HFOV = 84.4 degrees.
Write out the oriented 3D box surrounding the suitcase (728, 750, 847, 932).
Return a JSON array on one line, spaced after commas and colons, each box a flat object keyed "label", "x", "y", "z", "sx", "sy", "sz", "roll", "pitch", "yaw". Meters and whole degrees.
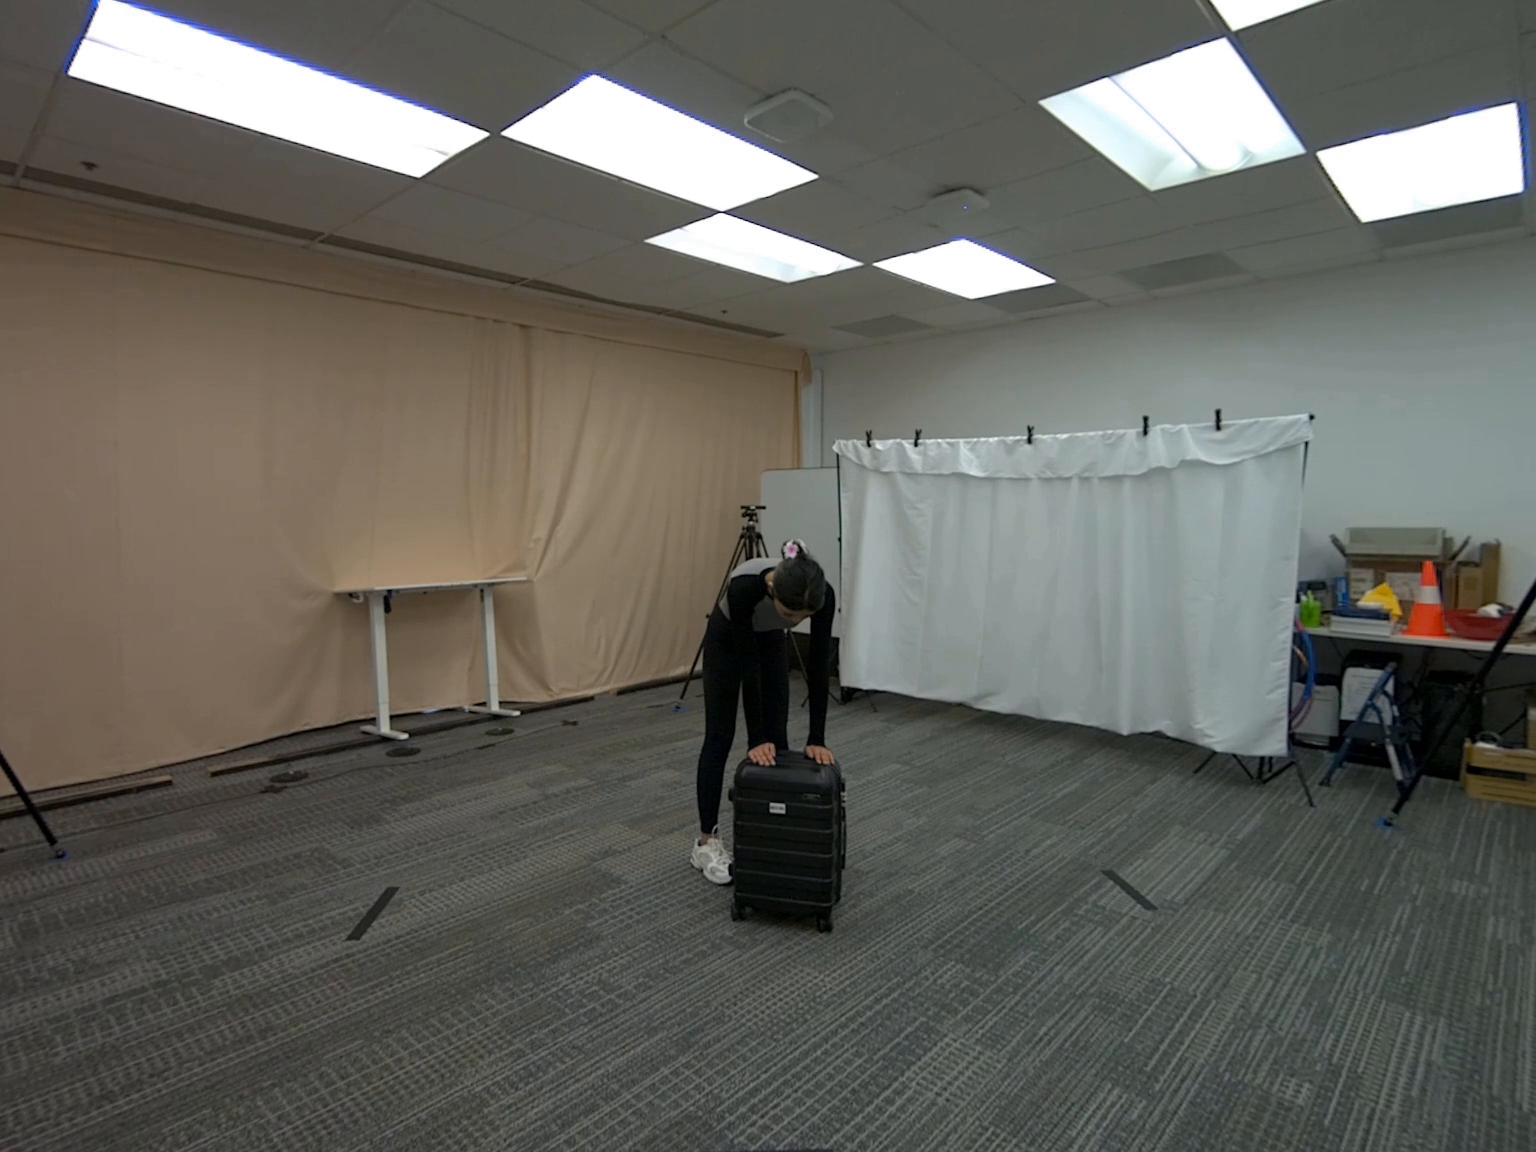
[{"label": "suitcase", "x": 0.074, "y": 0.878, "z": 2.866, "sx": 0.382, "sy": 0.547, "sz": 0.245, "roll": 1, "pitch": 5, "yaw": 16}]
